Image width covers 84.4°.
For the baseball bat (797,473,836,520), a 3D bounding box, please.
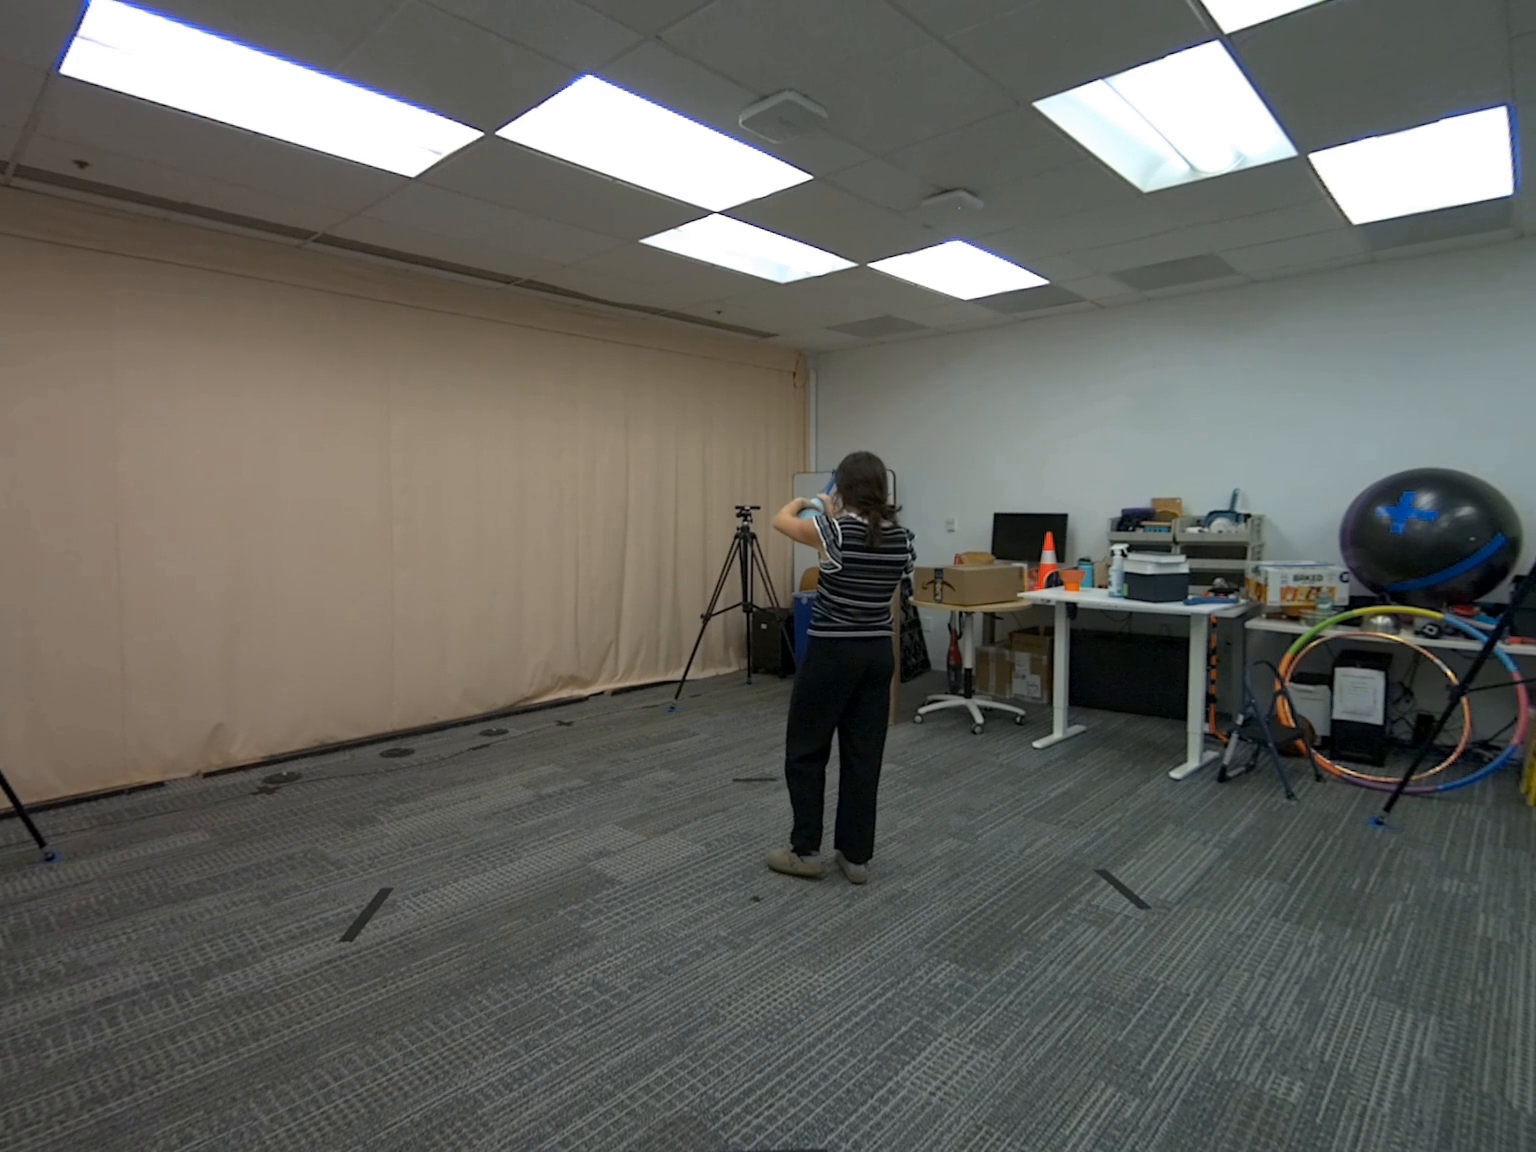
[{"bbox_3d":[0.234,-0.320,3.648,0.091,0.087,0.540,1,33,26],"label":"baseball bat"}]
